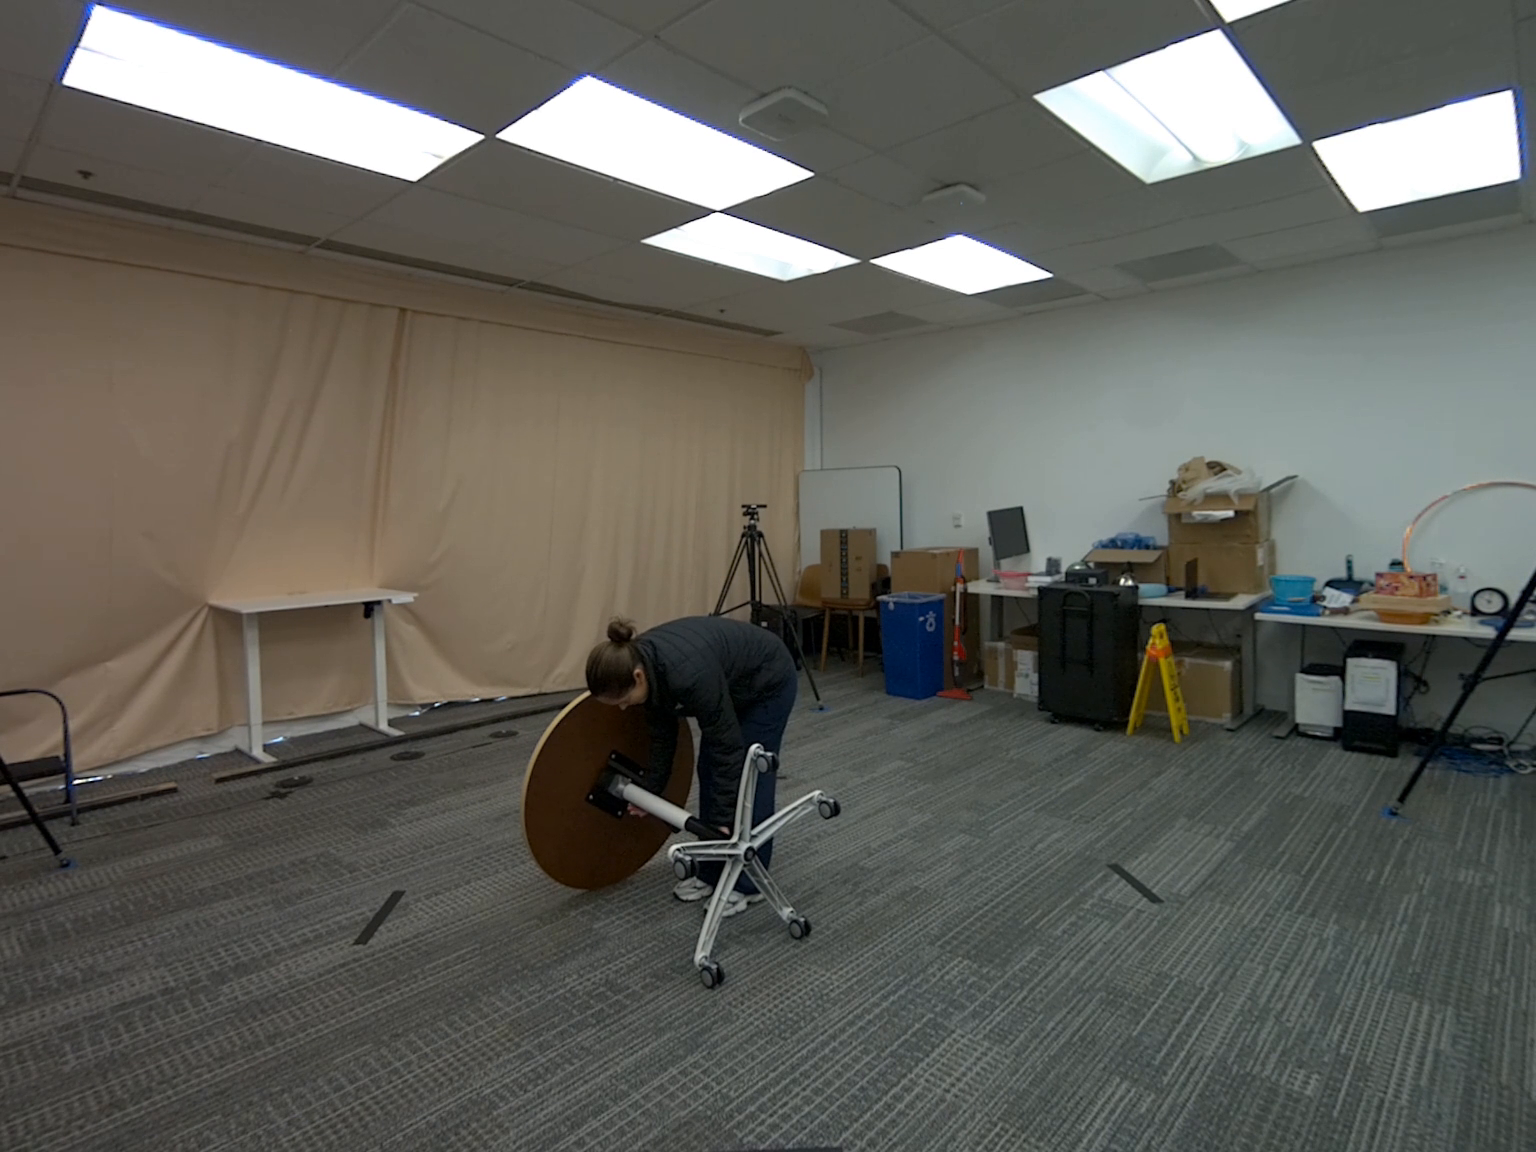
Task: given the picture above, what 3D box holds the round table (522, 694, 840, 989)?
[{"bbox_3d":[-0.261,0.822,2.821,0.814,0.781,0.761,11,11,43],"label":"round table"}]
